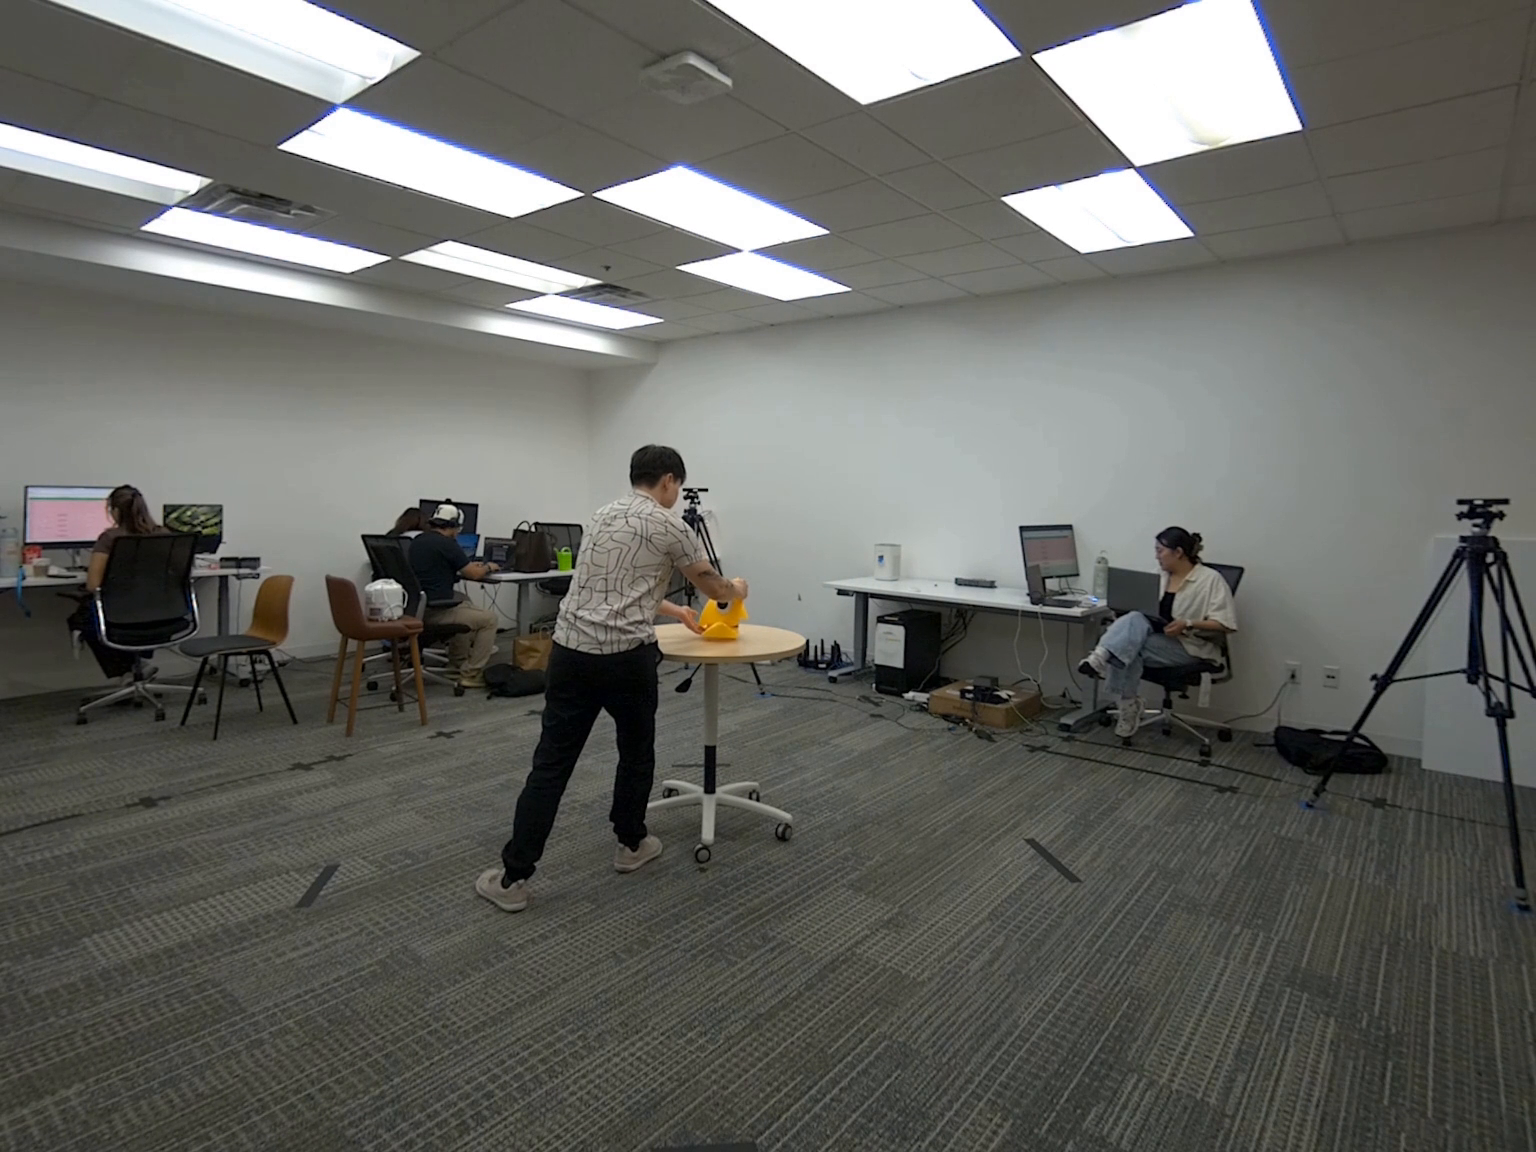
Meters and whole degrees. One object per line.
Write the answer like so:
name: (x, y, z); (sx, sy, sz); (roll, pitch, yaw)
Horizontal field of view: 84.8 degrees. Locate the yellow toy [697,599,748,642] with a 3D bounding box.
yellow toy: (-0.200, 0.116, 3.478); (0.190, 0.230, 0.208); (3, 6, -12)
